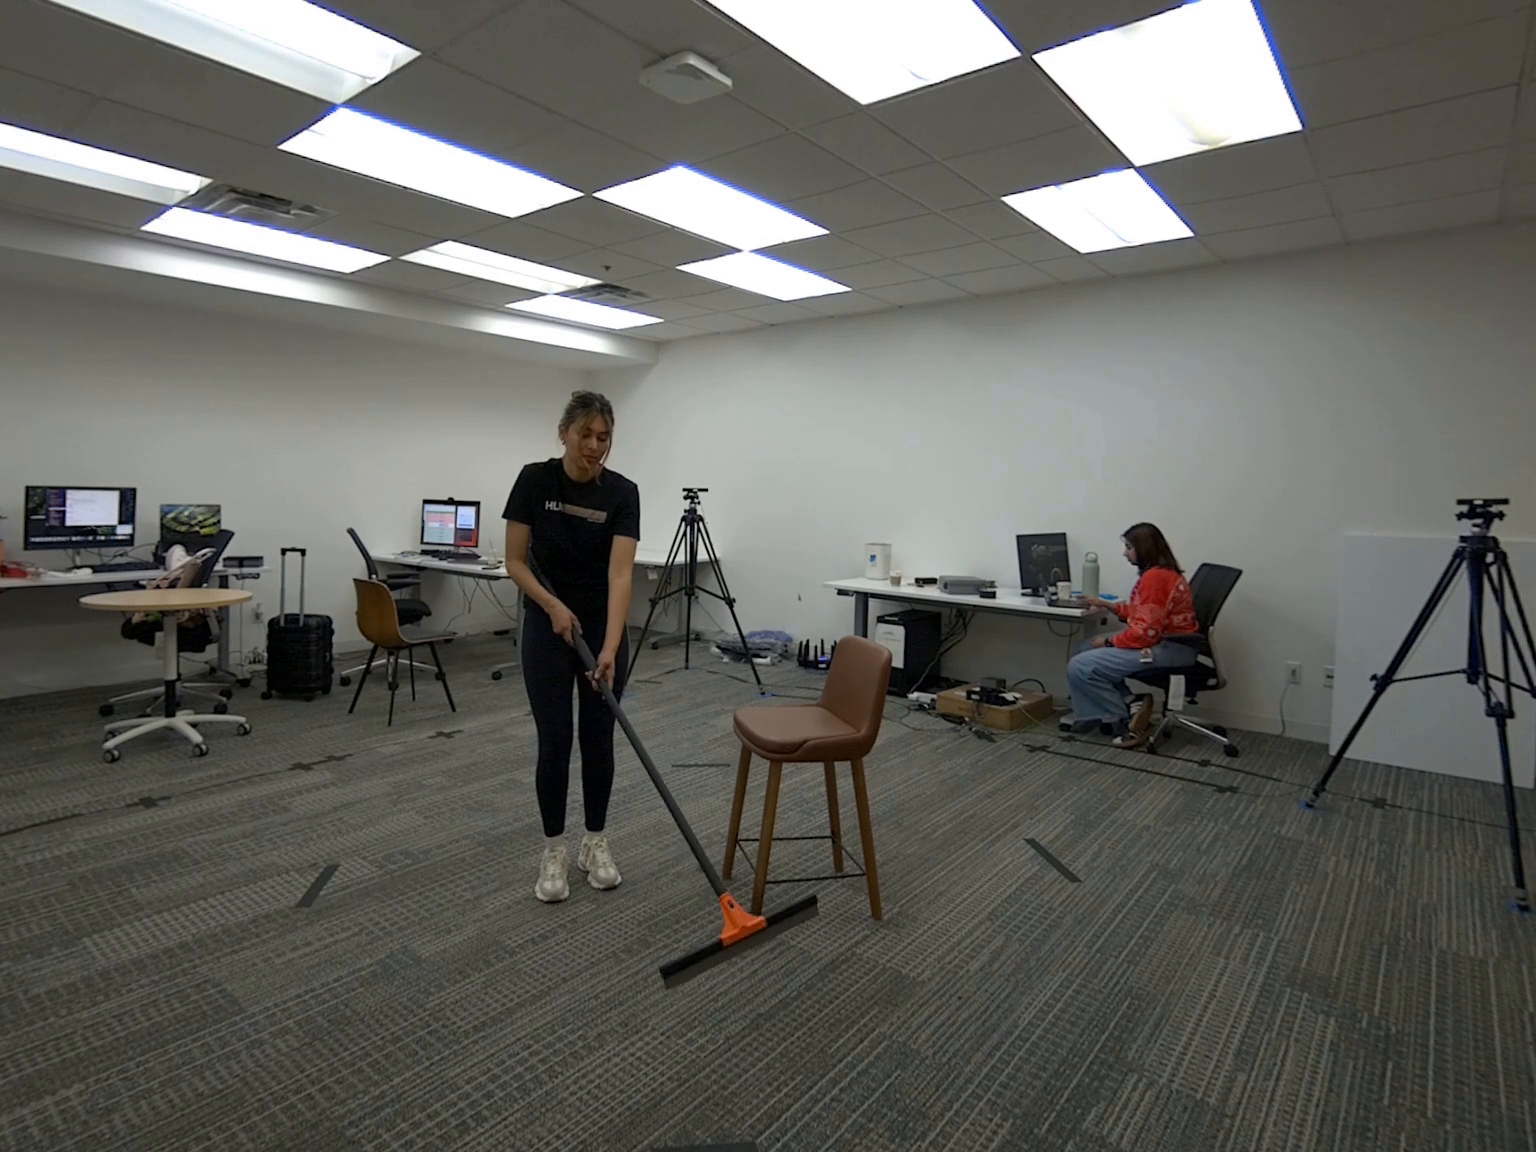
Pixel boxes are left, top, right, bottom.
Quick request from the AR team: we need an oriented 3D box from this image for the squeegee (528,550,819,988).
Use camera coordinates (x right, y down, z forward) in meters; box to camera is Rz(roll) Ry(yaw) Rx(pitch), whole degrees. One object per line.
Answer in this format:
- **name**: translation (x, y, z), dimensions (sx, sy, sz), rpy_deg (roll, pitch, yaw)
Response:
- **squeegee**: translation (-0.463, 0.366, 2.468), dimensions (0.427, 0.052, 1.602), rpy_deg (-13, 45, -32)
